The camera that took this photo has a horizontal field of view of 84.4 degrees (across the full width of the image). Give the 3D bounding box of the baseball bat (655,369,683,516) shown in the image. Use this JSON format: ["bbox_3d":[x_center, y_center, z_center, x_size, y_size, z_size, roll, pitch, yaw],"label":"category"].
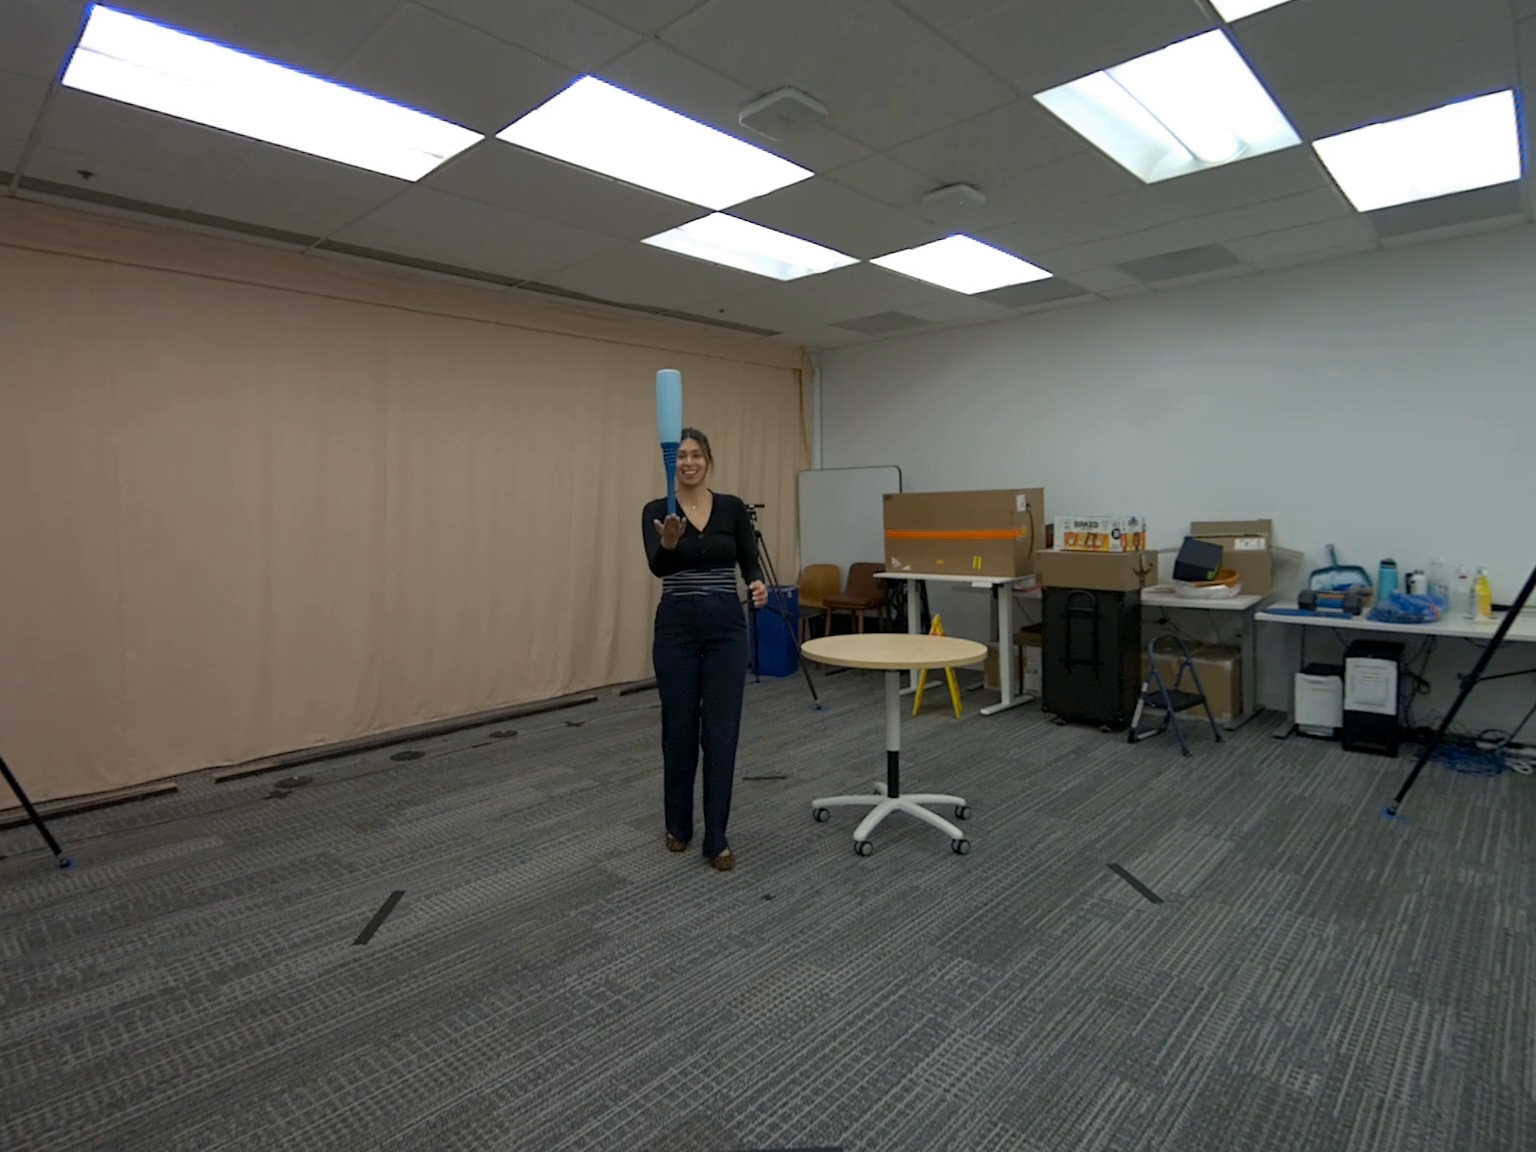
[{"bbox_3d":[-0.325,-0.433,2.894,0.089,0.544,0.089,-3,-2,-2],"label":"baseball bat"}]
